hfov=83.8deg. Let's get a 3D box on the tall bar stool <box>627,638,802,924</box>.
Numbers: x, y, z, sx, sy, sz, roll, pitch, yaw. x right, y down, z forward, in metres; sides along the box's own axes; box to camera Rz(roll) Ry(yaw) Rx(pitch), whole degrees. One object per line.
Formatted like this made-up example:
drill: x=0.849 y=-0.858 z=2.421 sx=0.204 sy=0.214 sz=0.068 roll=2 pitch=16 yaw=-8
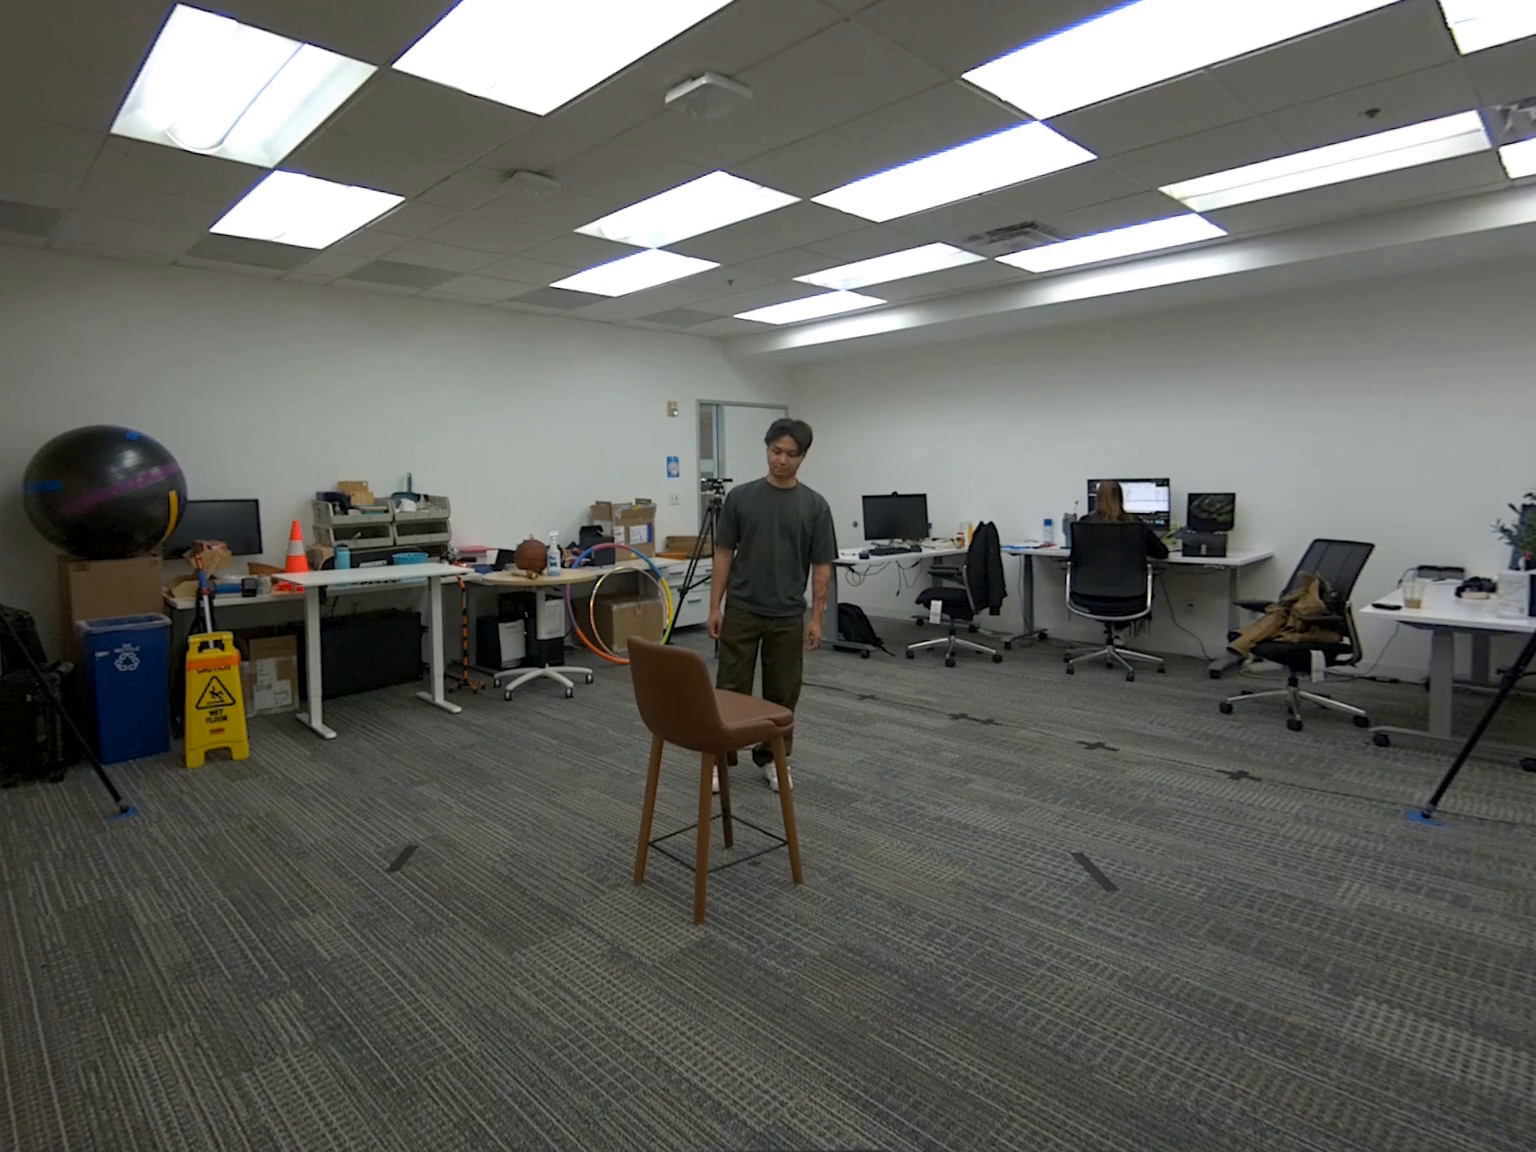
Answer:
tall bar stool: x=-0.189 y=0.631 z=2.941 sx=0.456 sy=0.885 sz=0.470 roll=-7 pitch=7 yaw=-41
